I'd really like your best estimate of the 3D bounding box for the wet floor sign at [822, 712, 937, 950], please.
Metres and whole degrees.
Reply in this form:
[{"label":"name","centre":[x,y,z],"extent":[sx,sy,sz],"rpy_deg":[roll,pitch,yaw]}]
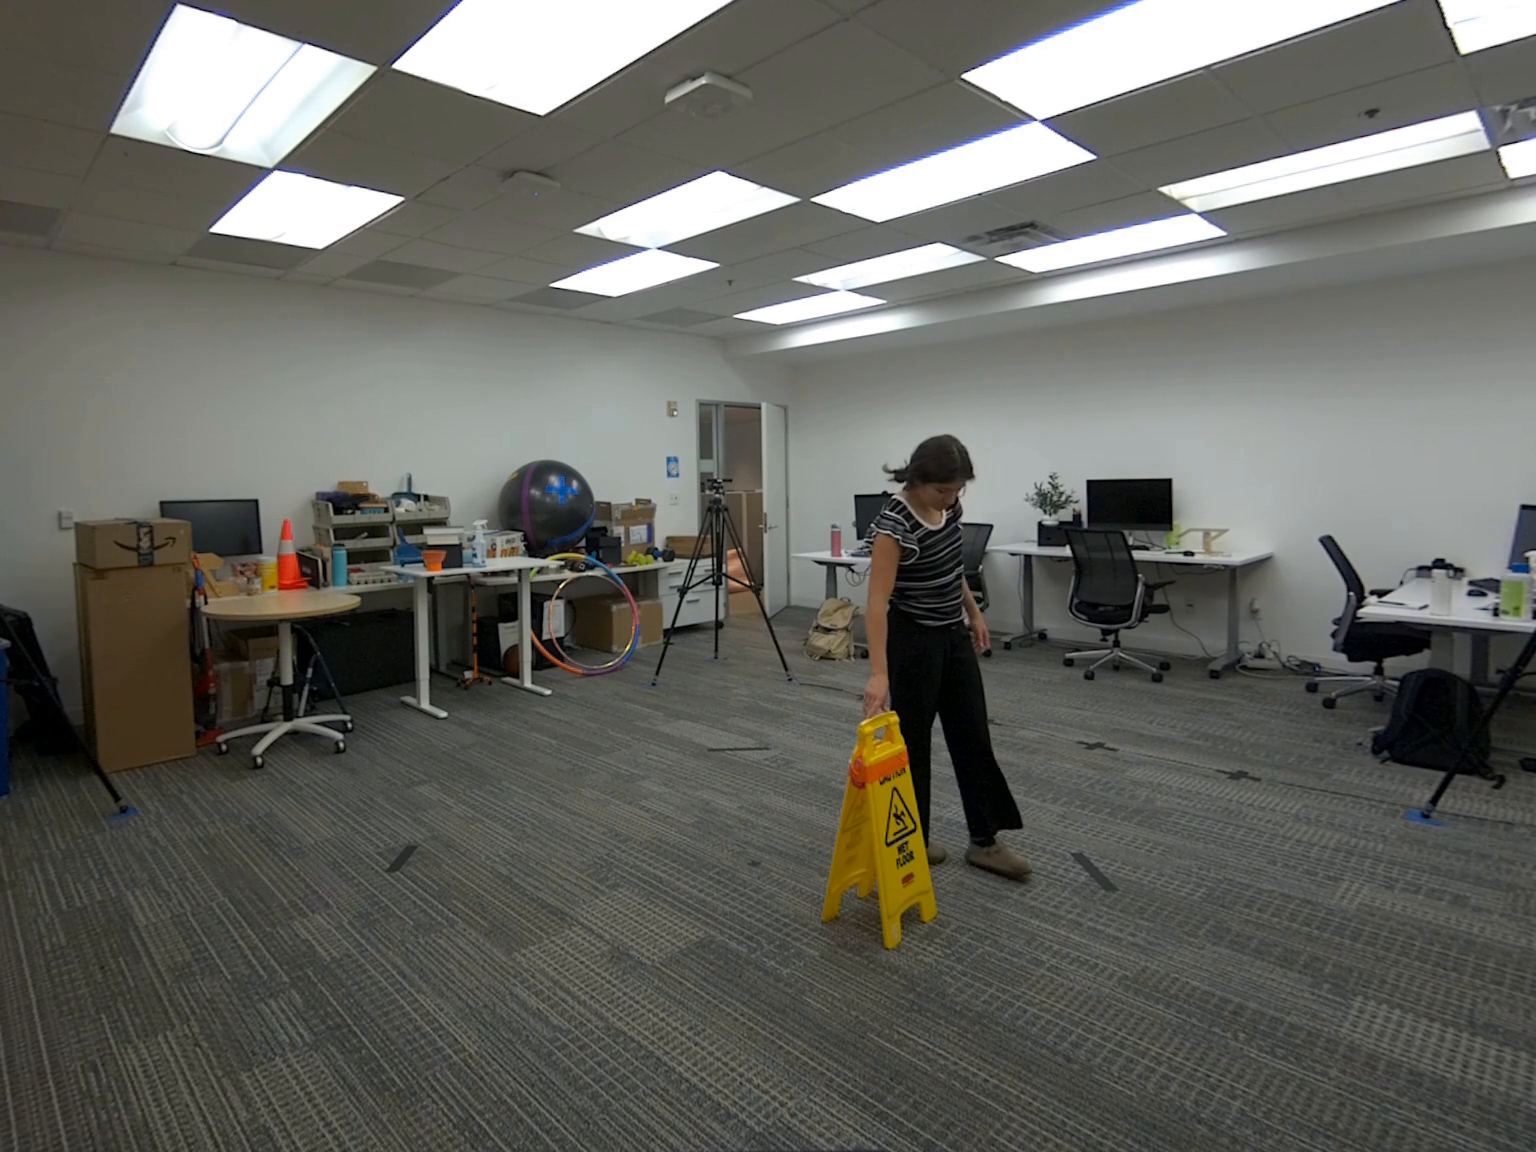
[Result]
[{"label":"wet floor sign","centre":[0.355,0.763,2.680],"extent":[0.299,0.643,0.275],"rpy_deg":[4,7,40]}]
